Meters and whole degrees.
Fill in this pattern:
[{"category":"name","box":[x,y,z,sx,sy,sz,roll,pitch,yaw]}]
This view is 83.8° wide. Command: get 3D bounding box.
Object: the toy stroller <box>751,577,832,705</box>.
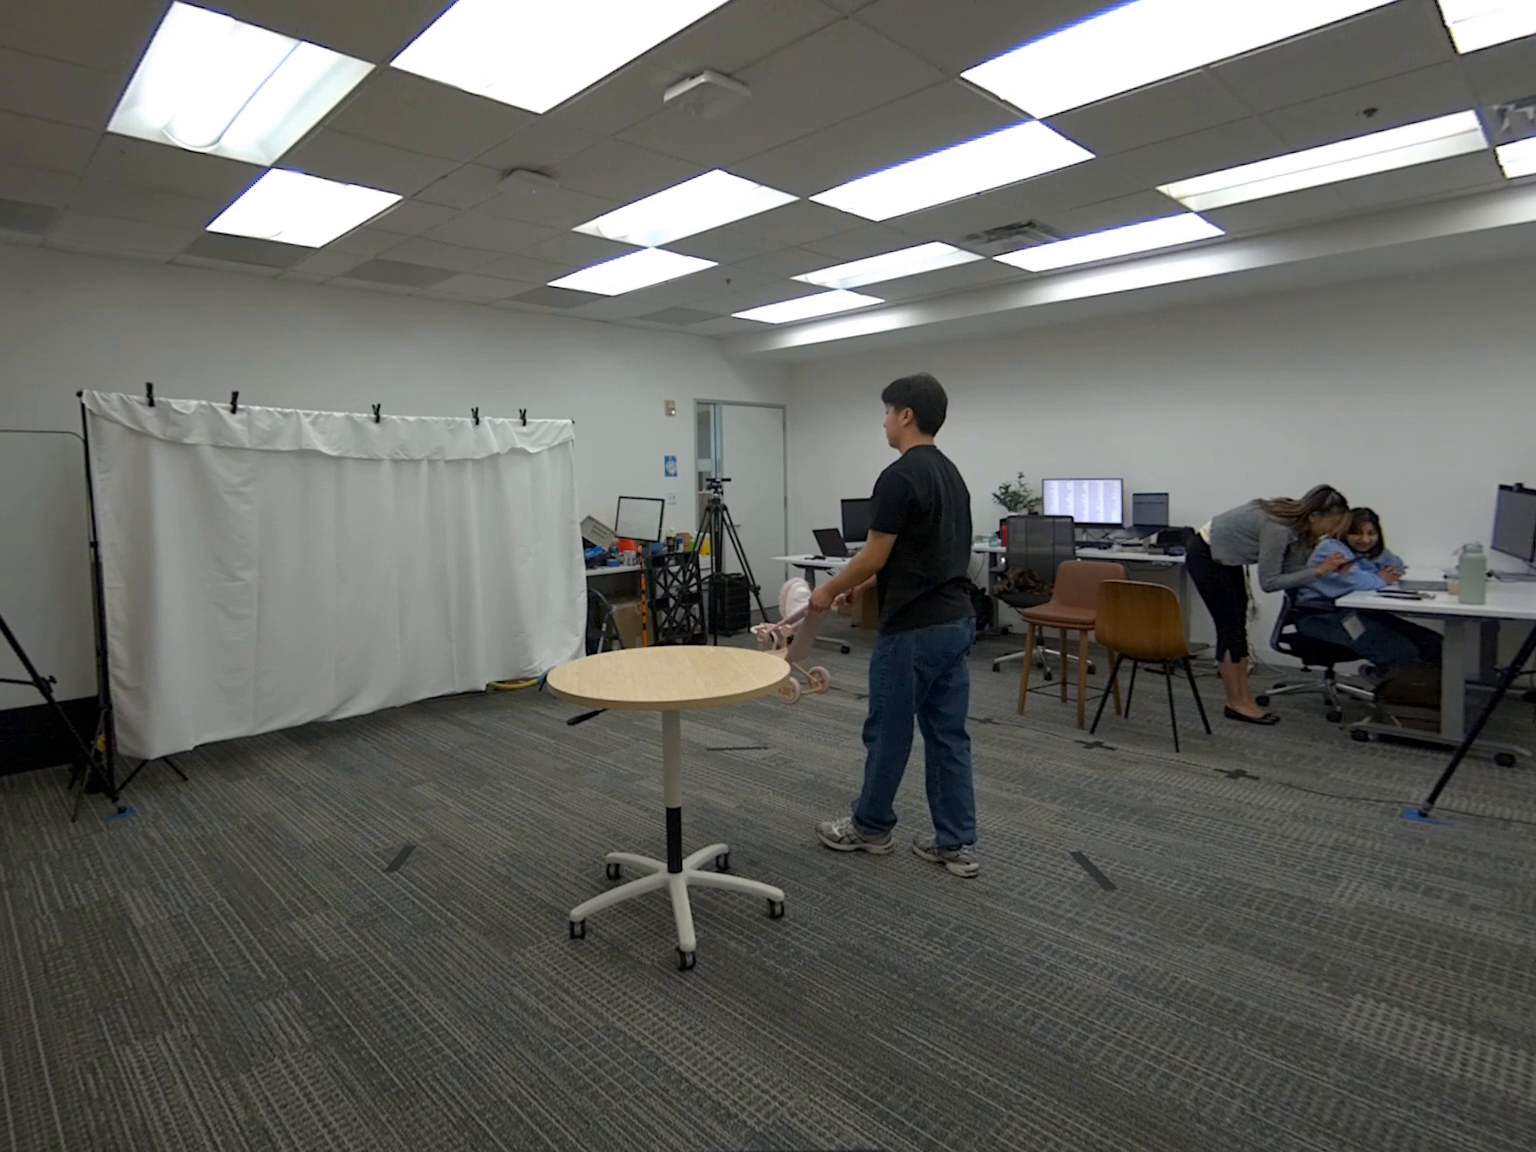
[{"category":"toy stroller","box":[0.092,0.252,3.389,0.353,0.531,0.274,22,15,35]}]
